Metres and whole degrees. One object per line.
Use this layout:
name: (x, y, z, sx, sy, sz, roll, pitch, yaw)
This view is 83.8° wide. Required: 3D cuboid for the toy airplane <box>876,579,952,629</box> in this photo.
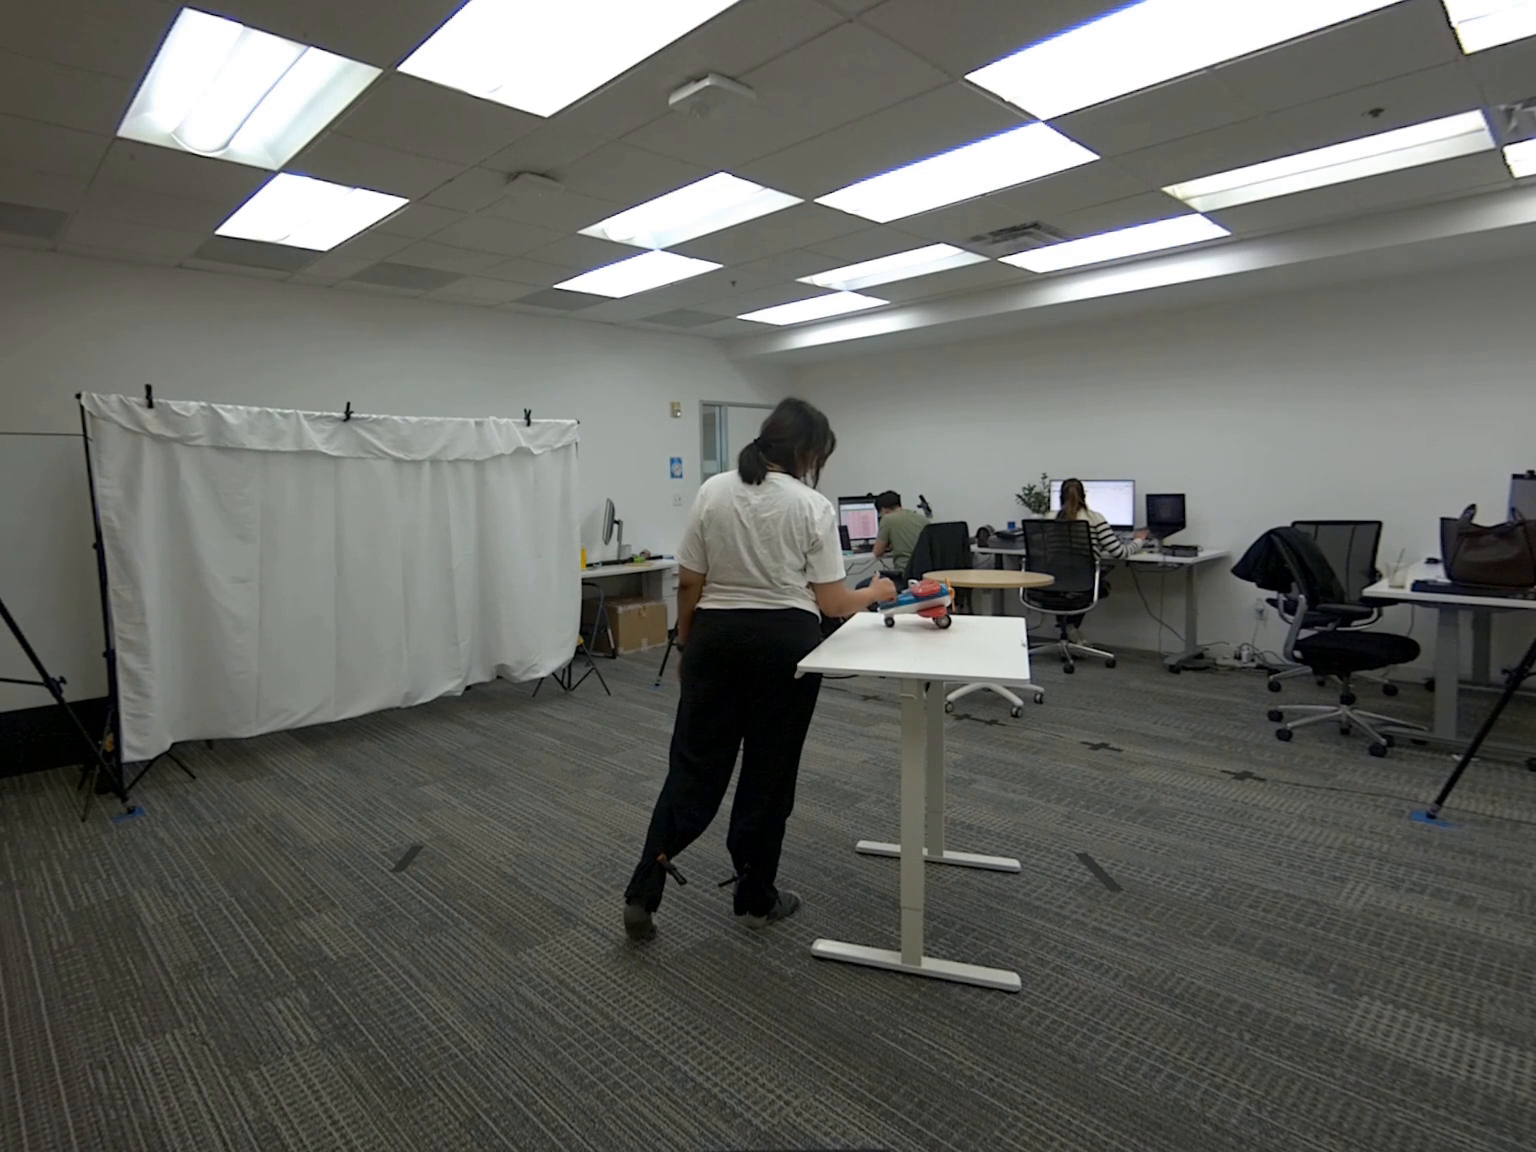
toy airplane: (0.520, 0.100, 2.918, 0.254, 0.156, 0.257, -1, 5, -24)
